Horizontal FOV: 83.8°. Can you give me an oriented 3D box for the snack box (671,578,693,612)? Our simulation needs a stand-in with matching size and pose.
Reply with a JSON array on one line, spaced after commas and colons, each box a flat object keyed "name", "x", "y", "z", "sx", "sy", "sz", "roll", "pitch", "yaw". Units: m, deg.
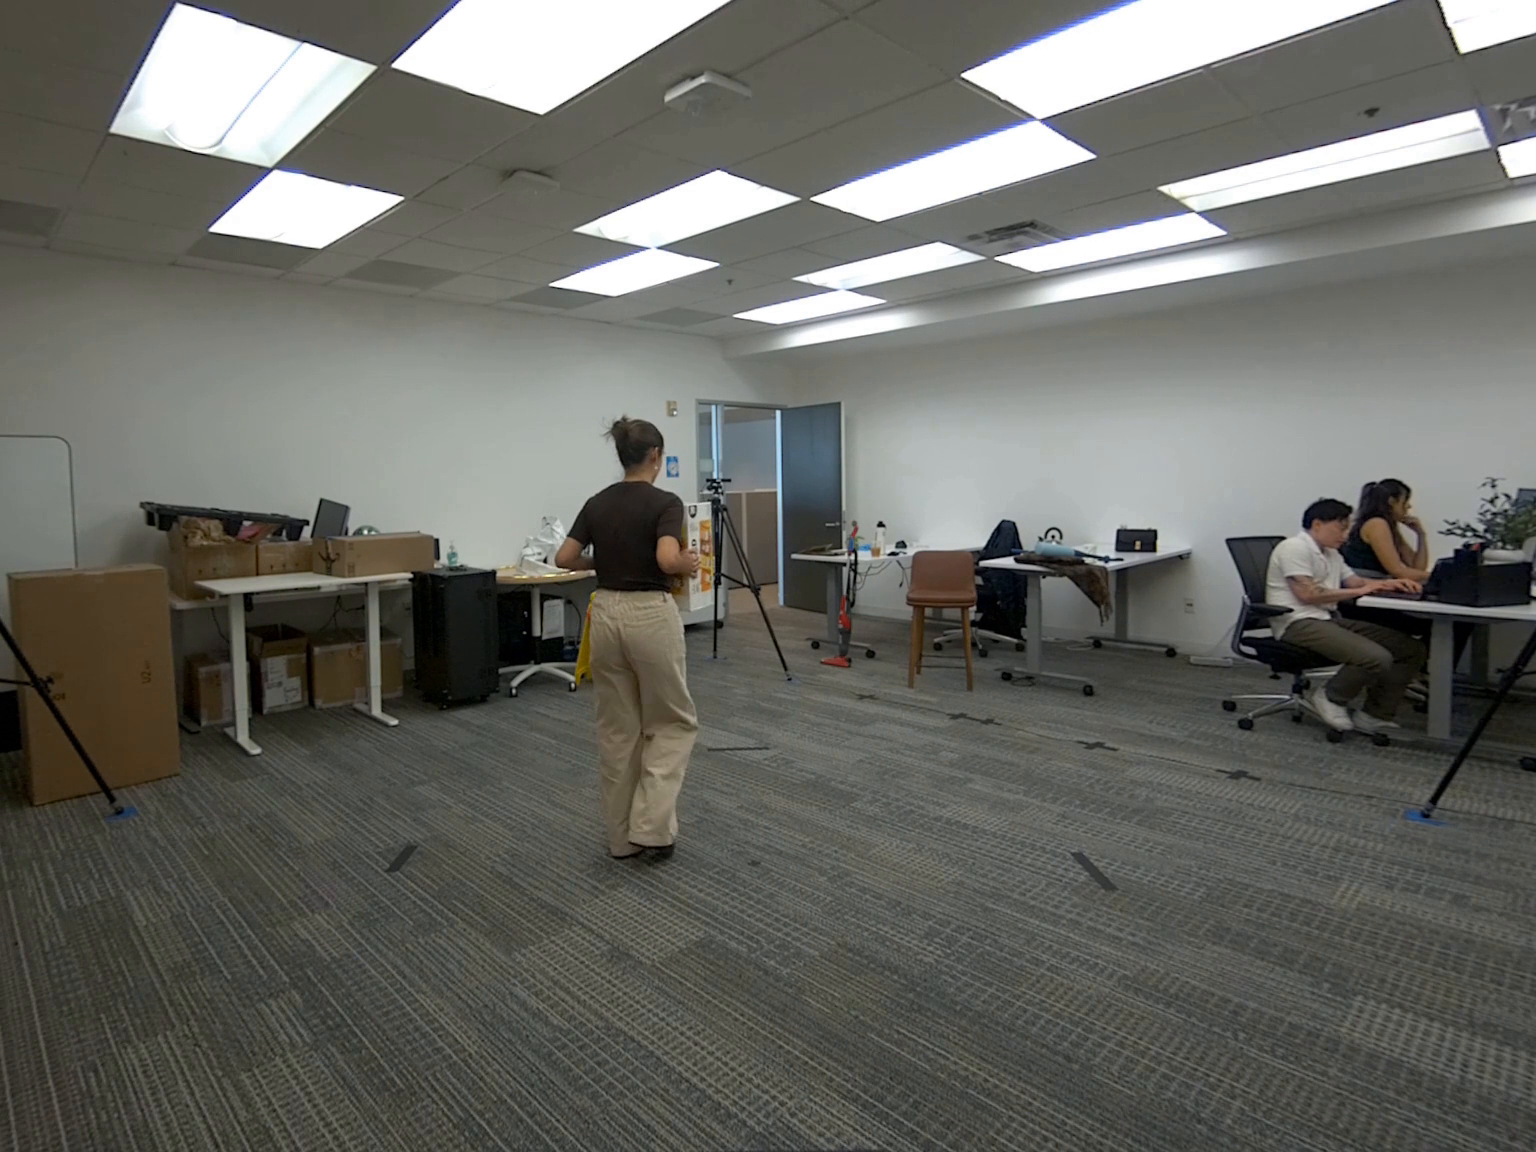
[{"name": "snack box", "x": -0.404, "y": -0.083, "z": 3.381, "sx": 0.348, "sy": 0.403, "sz": 0.202, "roll": 2, "pitch": 6, "yaw": 25}]
